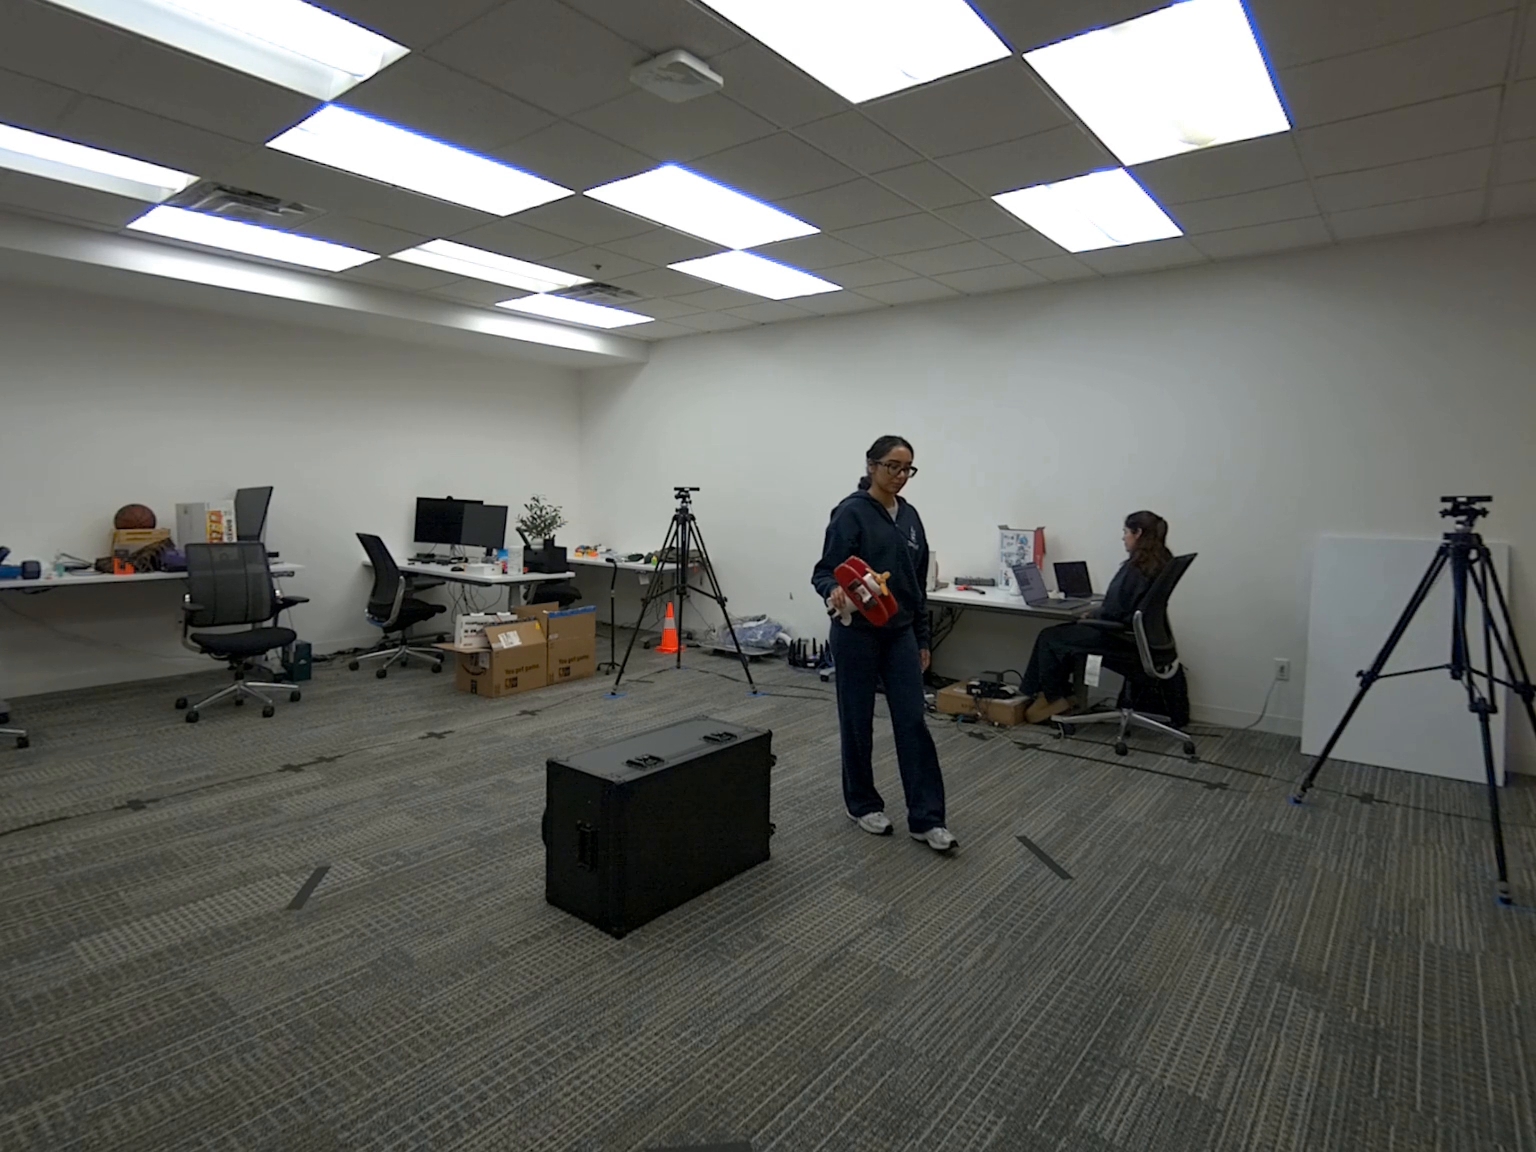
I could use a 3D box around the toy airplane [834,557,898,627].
[{"bbox_3d":[0.308,0.059,3.083,0.155,0.246,0.267,-34,19,-36],"label":"toy airplane"}]
